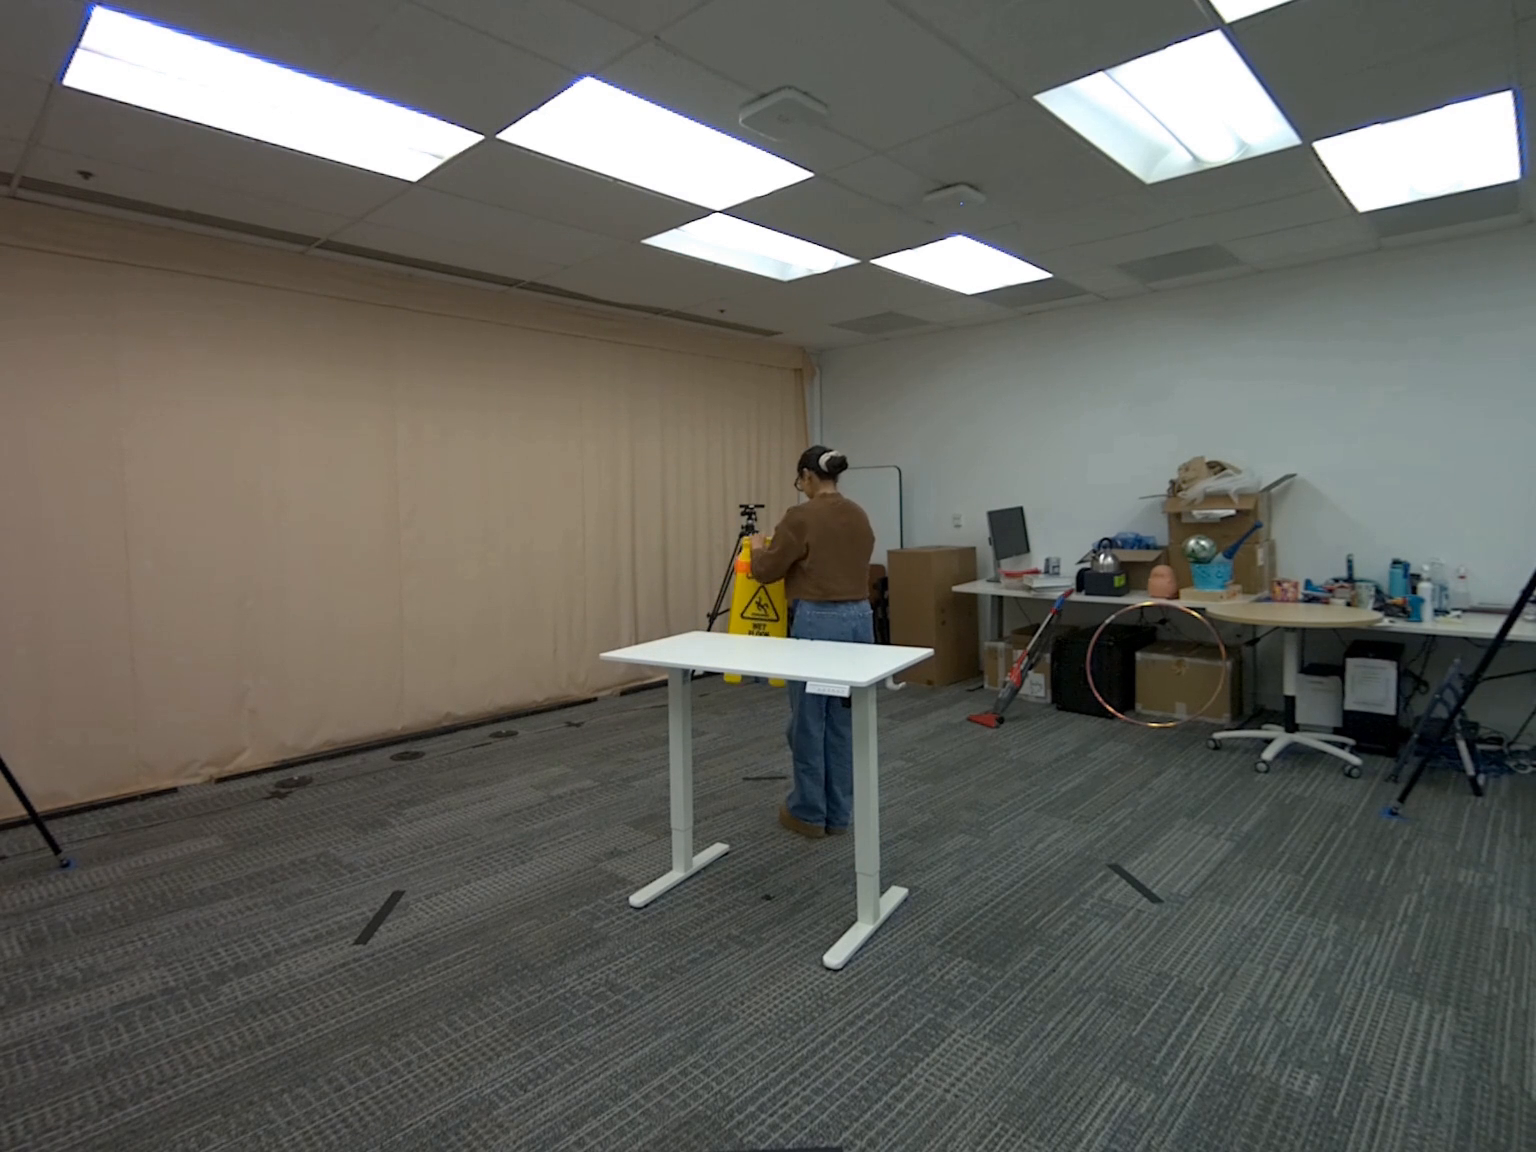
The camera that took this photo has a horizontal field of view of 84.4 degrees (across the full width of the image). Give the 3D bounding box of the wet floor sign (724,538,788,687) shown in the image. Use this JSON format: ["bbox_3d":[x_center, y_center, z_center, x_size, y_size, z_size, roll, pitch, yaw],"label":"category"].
[{"bbox_3d":[-0.037,0.147,3.862,0.281,0.645,0.292,6,3,-6],"label":"wet floor sign"}]
